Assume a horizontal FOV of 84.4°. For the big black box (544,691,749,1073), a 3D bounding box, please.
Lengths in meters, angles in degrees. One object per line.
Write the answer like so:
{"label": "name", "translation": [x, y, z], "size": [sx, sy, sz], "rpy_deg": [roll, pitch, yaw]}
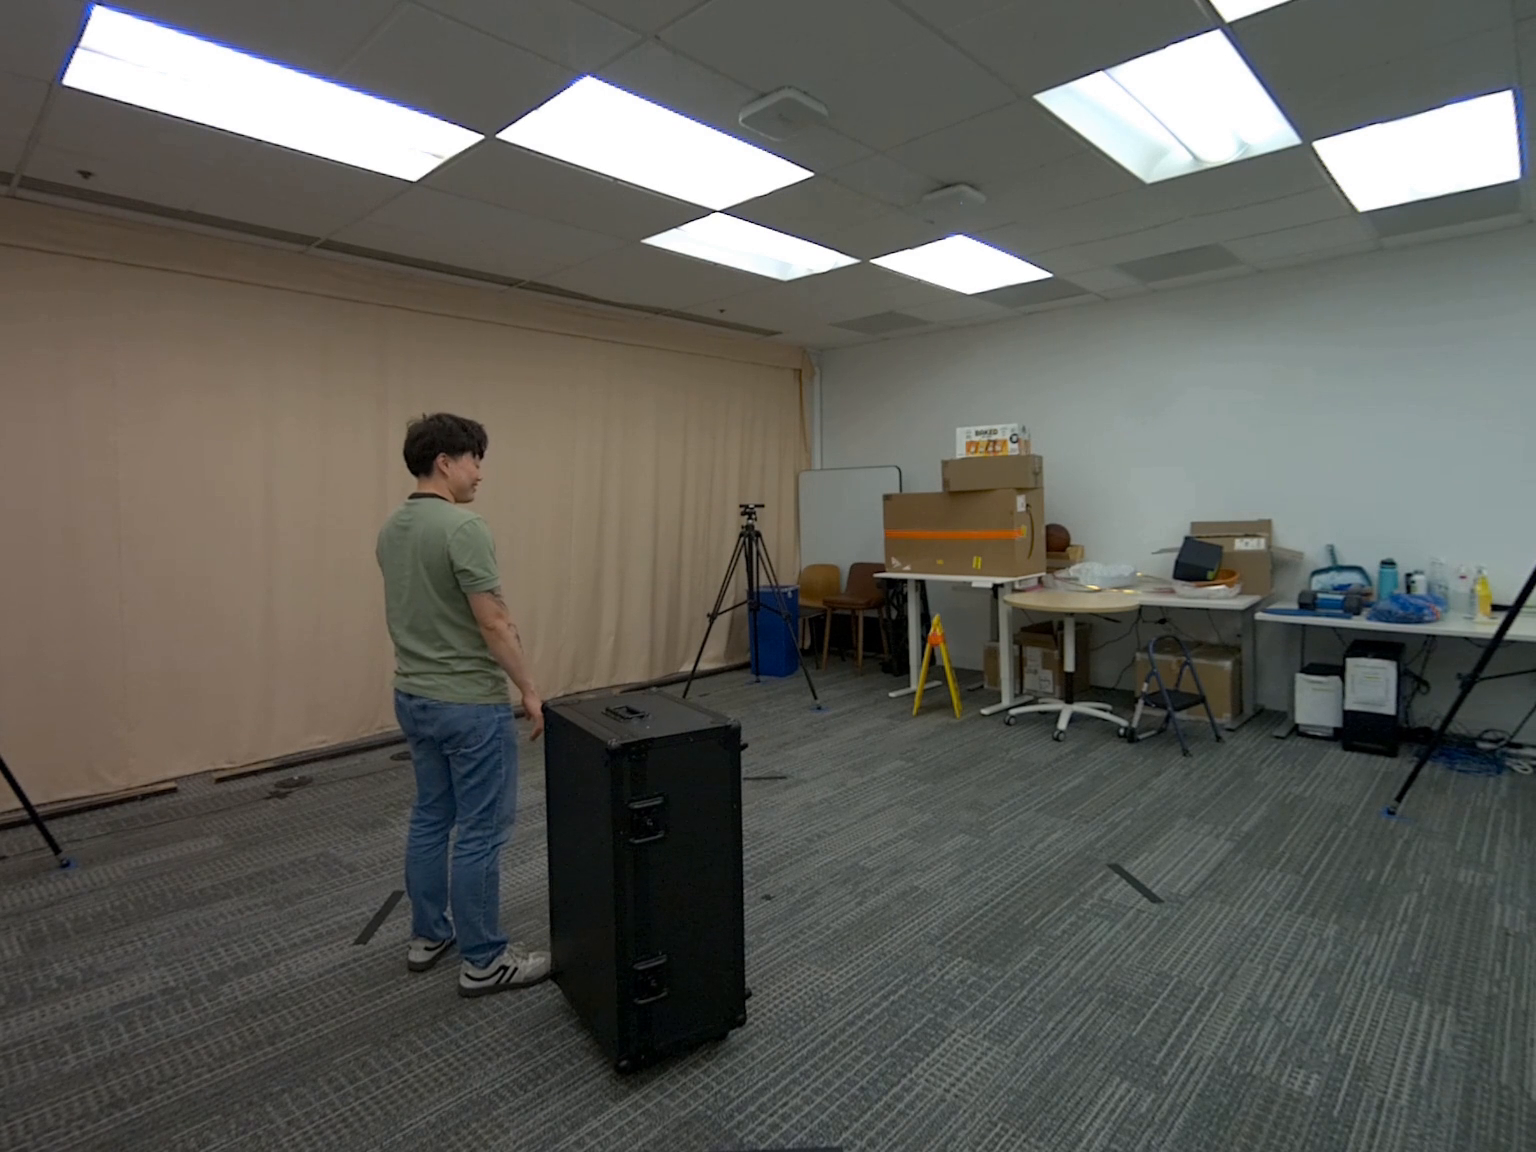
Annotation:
{"label": "big black box", "translation": [-0.327, 0.782, 2.241], "size": [0.385, 0.860, 0.537], "rpy_deg": [-2, 3, -32]}
